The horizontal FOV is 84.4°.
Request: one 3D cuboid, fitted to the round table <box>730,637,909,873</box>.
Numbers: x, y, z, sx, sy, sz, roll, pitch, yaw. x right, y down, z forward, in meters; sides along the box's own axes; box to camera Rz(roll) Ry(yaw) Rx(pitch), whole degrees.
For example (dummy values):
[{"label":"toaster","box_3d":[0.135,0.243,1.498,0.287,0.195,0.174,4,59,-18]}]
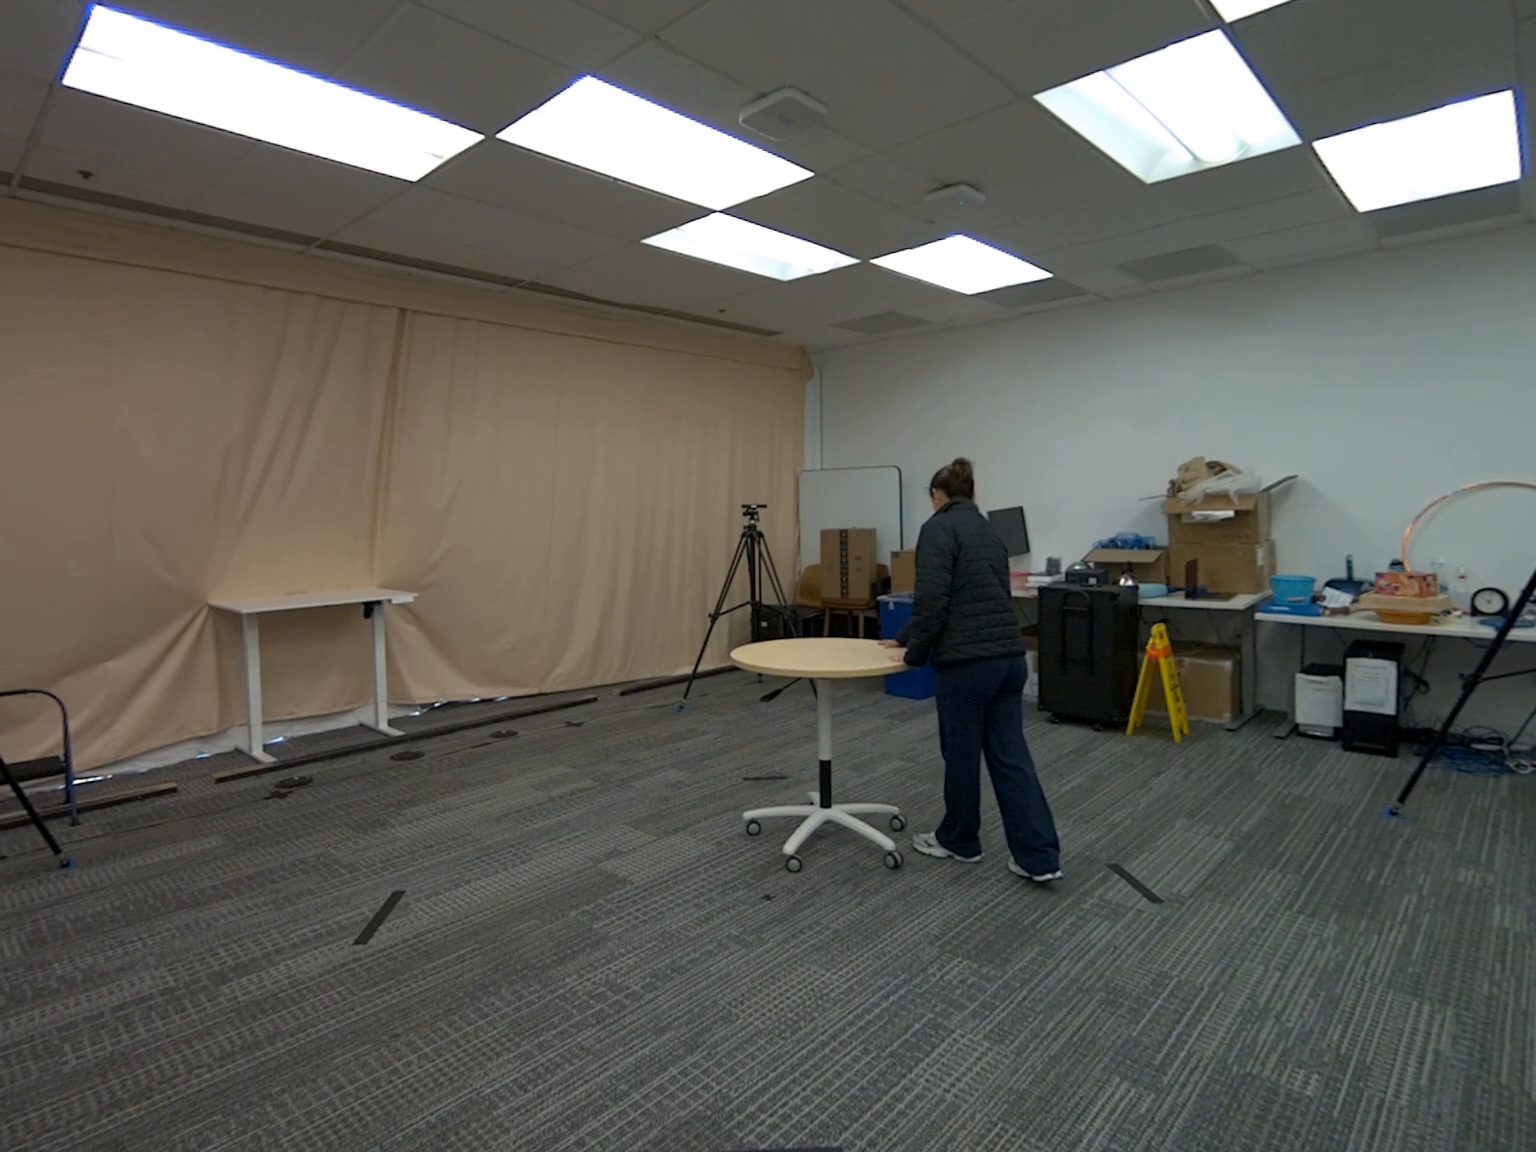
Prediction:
[{"label":"round table","box_3d":[0.263,0.700,3.466,0.784,0.785,0.788,-2,4,-2]}]
